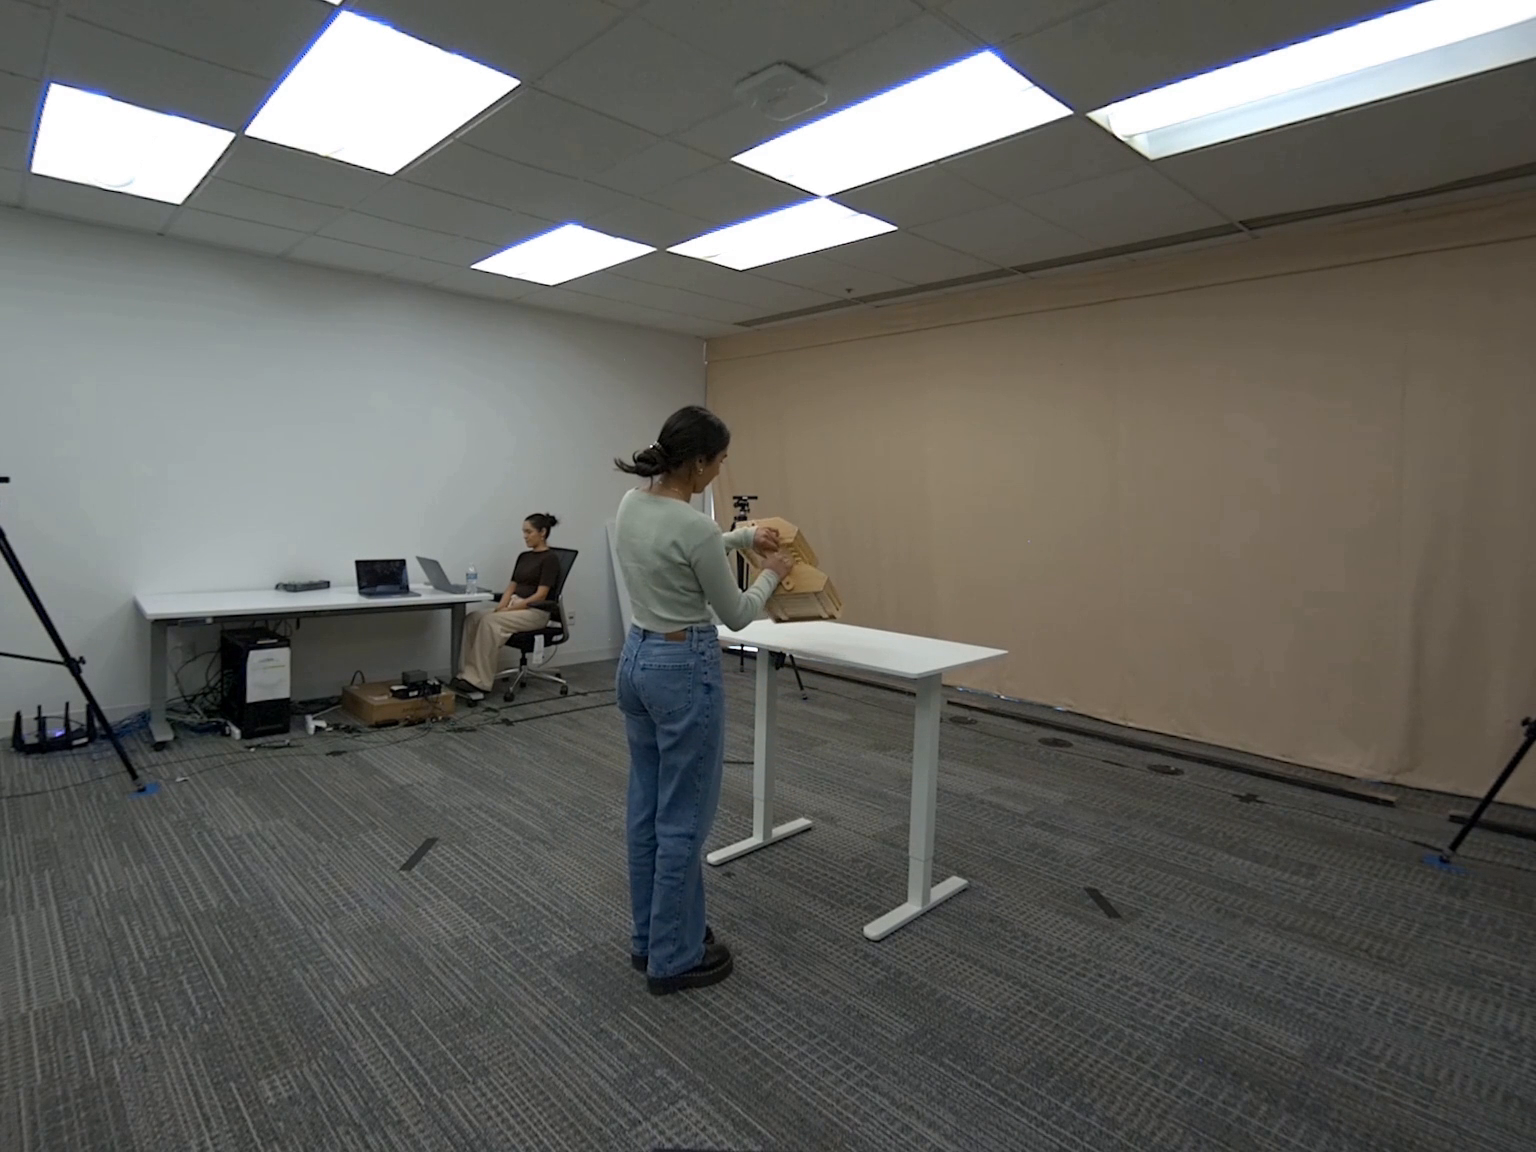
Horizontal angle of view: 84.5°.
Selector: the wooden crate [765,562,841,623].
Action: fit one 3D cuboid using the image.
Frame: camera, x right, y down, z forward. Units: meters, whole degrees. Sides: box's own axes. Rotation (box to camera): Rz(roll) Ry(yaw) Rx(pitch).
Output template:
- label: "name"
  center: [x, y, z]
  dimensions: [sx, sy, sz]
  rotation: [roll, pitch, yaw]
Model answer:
- label: "wooden crate"
  center: [0.084, -0.018, 2.771]
  dimensions: [0.305, 0.277, 0.316]
  rotation: [-5, -22, 14]
